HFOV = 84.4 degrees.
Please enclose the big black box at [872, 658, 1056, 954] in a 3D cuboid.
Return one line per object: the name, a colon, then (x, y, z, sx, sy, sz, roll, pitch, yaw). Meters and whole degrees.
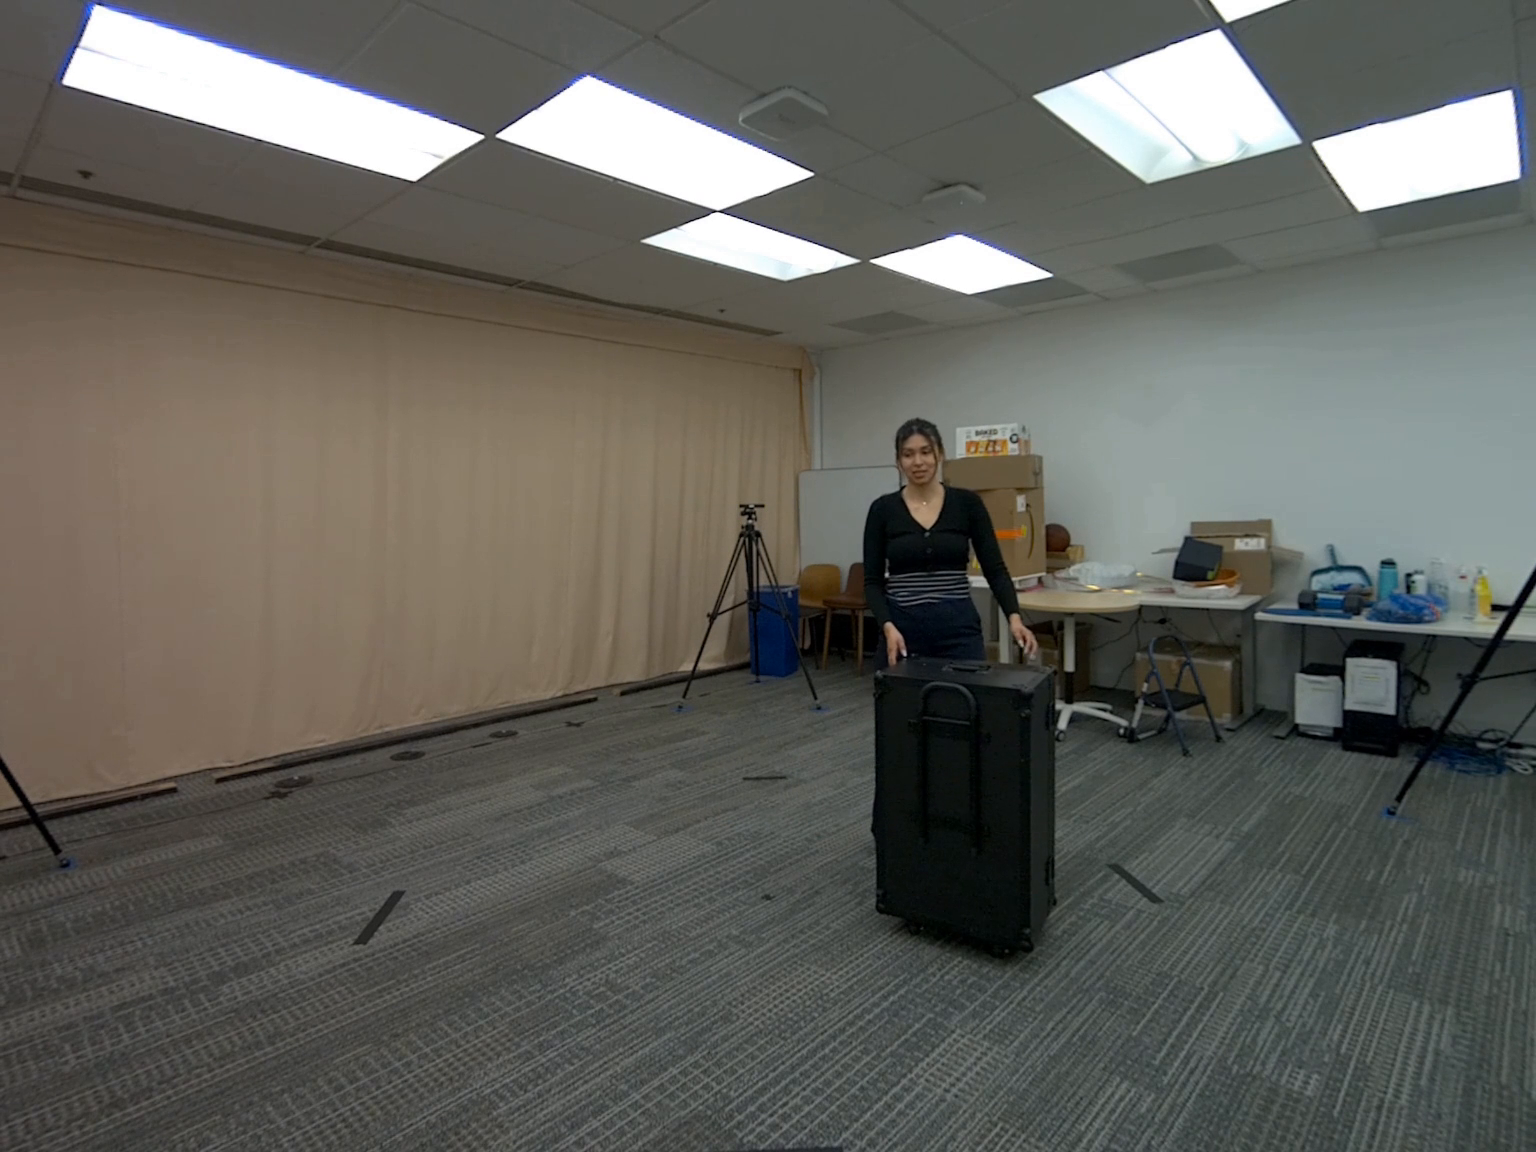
big black box: (0.644, 0.727, 2.700, 0.536, 0.859, 0.386, 1, 5, 31)
